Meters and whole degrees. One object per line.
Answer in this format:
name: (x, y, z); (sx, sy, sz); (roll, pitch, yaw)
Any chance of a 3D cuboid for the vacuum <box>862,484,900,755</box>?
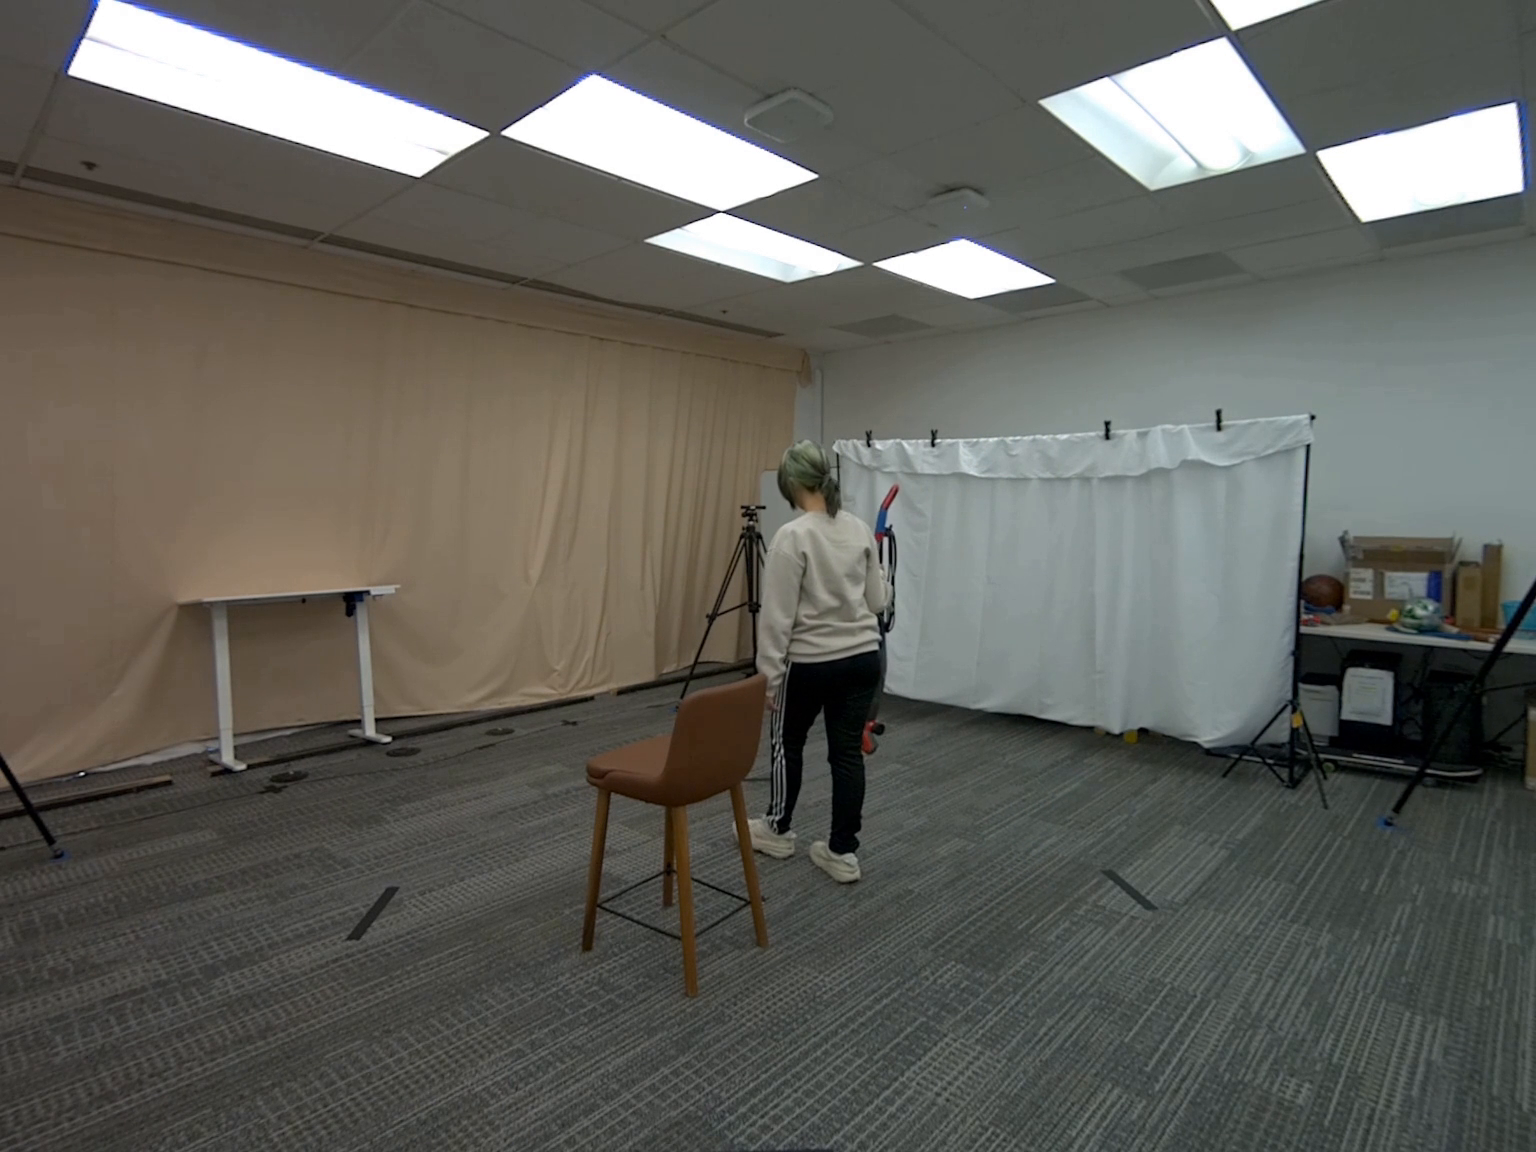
vacuum: (0.465, 0.154, 3.514); (0.140, 1.046, 0.260); (2, 7, -29)
